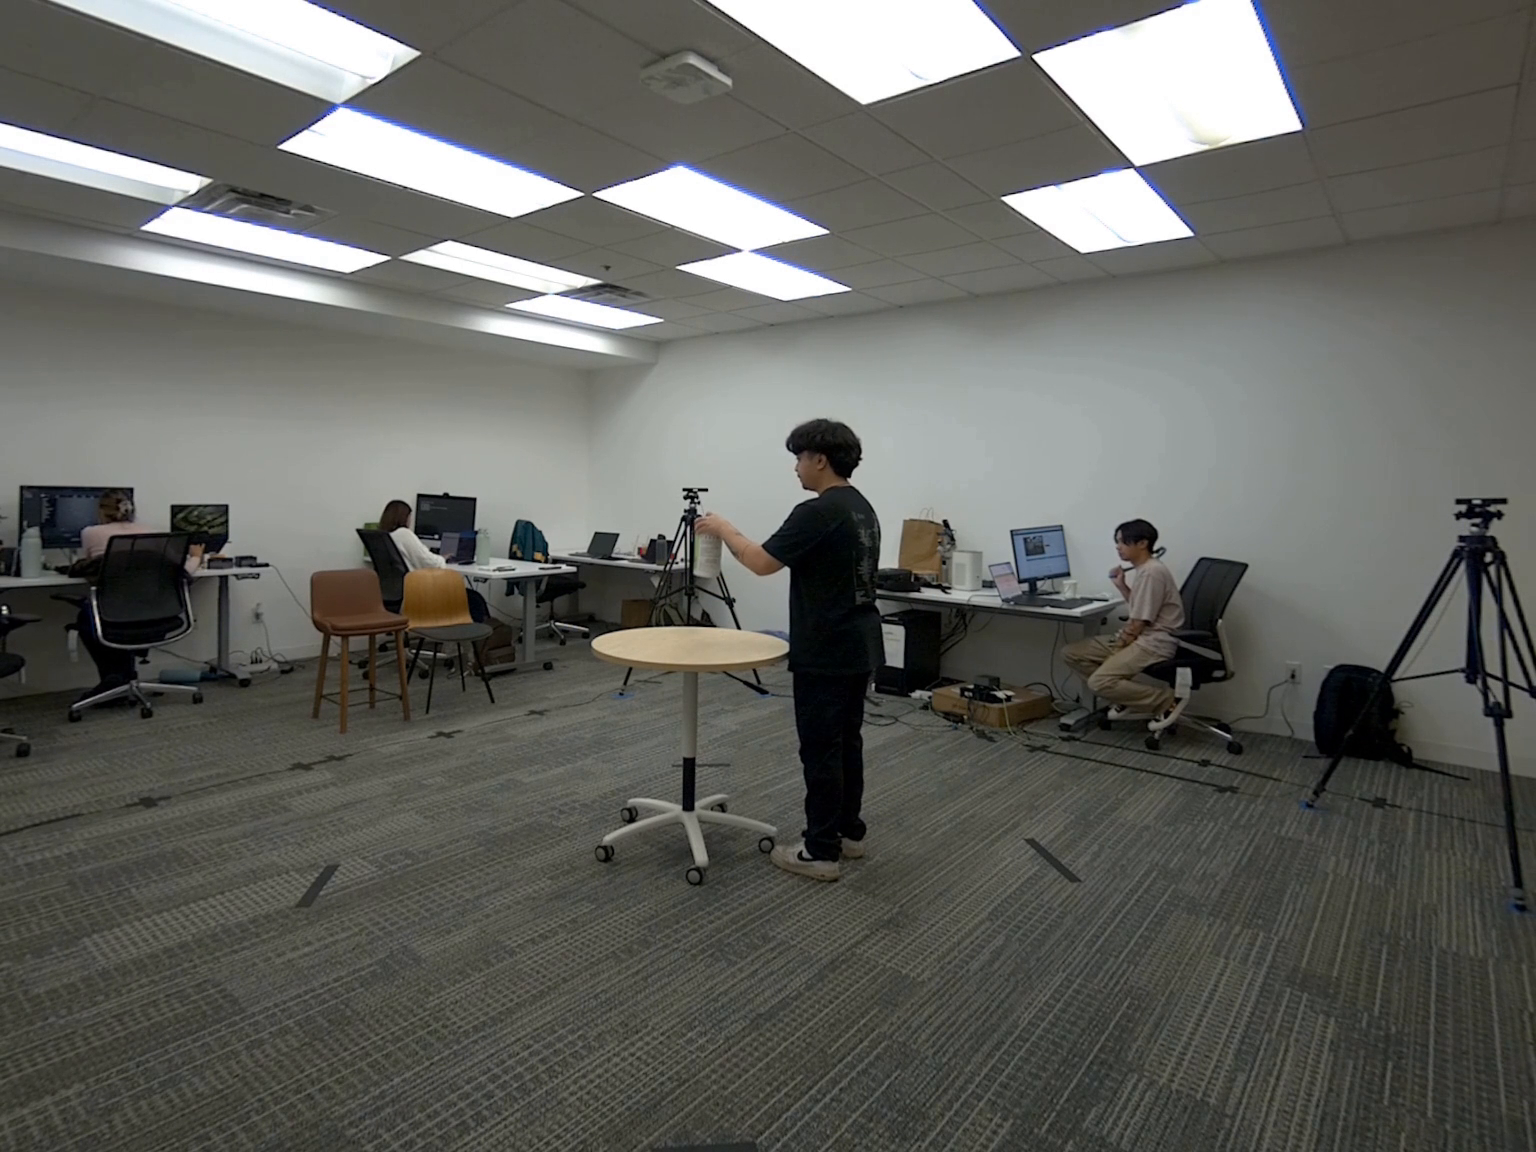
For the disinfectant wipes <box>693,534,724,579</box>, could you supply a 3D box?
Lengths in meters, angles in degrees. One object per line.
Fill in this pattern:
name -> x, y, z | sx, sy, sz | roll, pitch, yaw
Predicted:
disinfectant wipes -> -0.248, -0.111, 3.379 | 0.117, 0.216, 0.119 | 4, 9, -2
